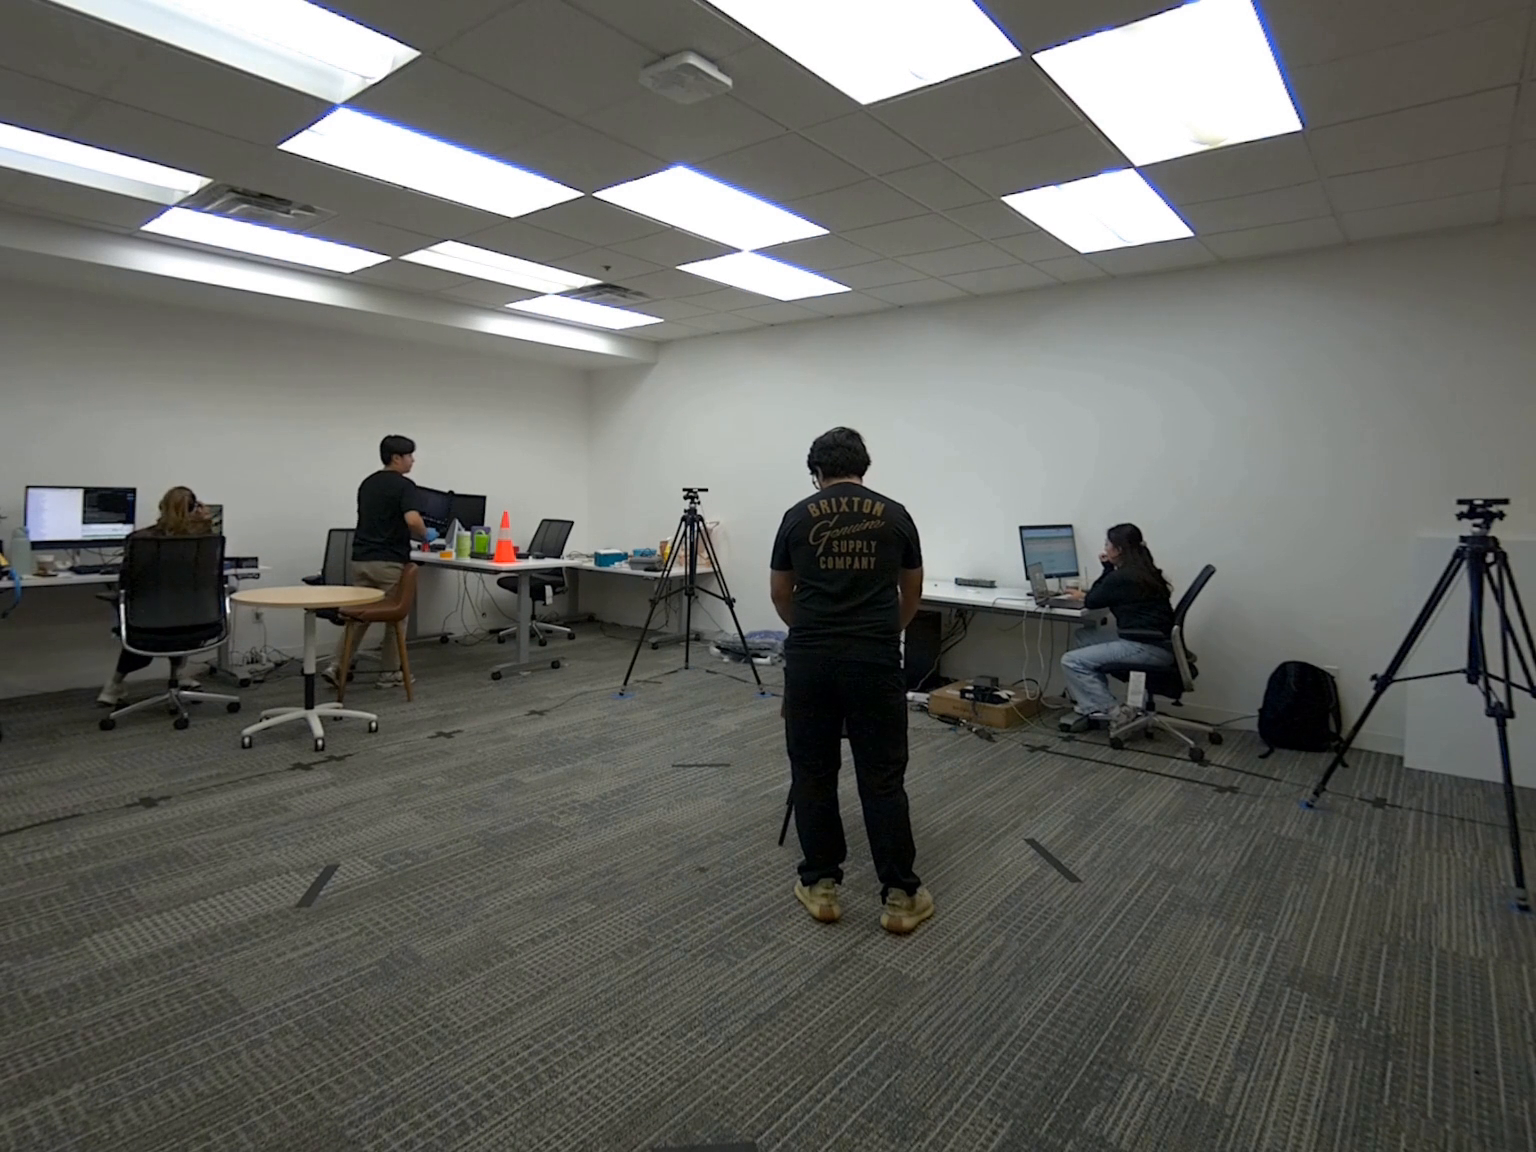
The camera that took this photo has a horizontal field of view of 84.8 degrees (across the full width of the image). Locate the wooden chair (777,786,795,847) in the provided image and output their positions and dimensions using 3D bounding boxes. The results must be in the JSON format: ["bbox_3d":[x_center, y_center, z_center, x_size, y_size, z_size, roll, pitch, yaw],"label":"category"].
[{"bbox_3d":[0.276,0.610,3.498,0.483,0.872,0.522,1,7,8],"label":"wooden chair"}]
